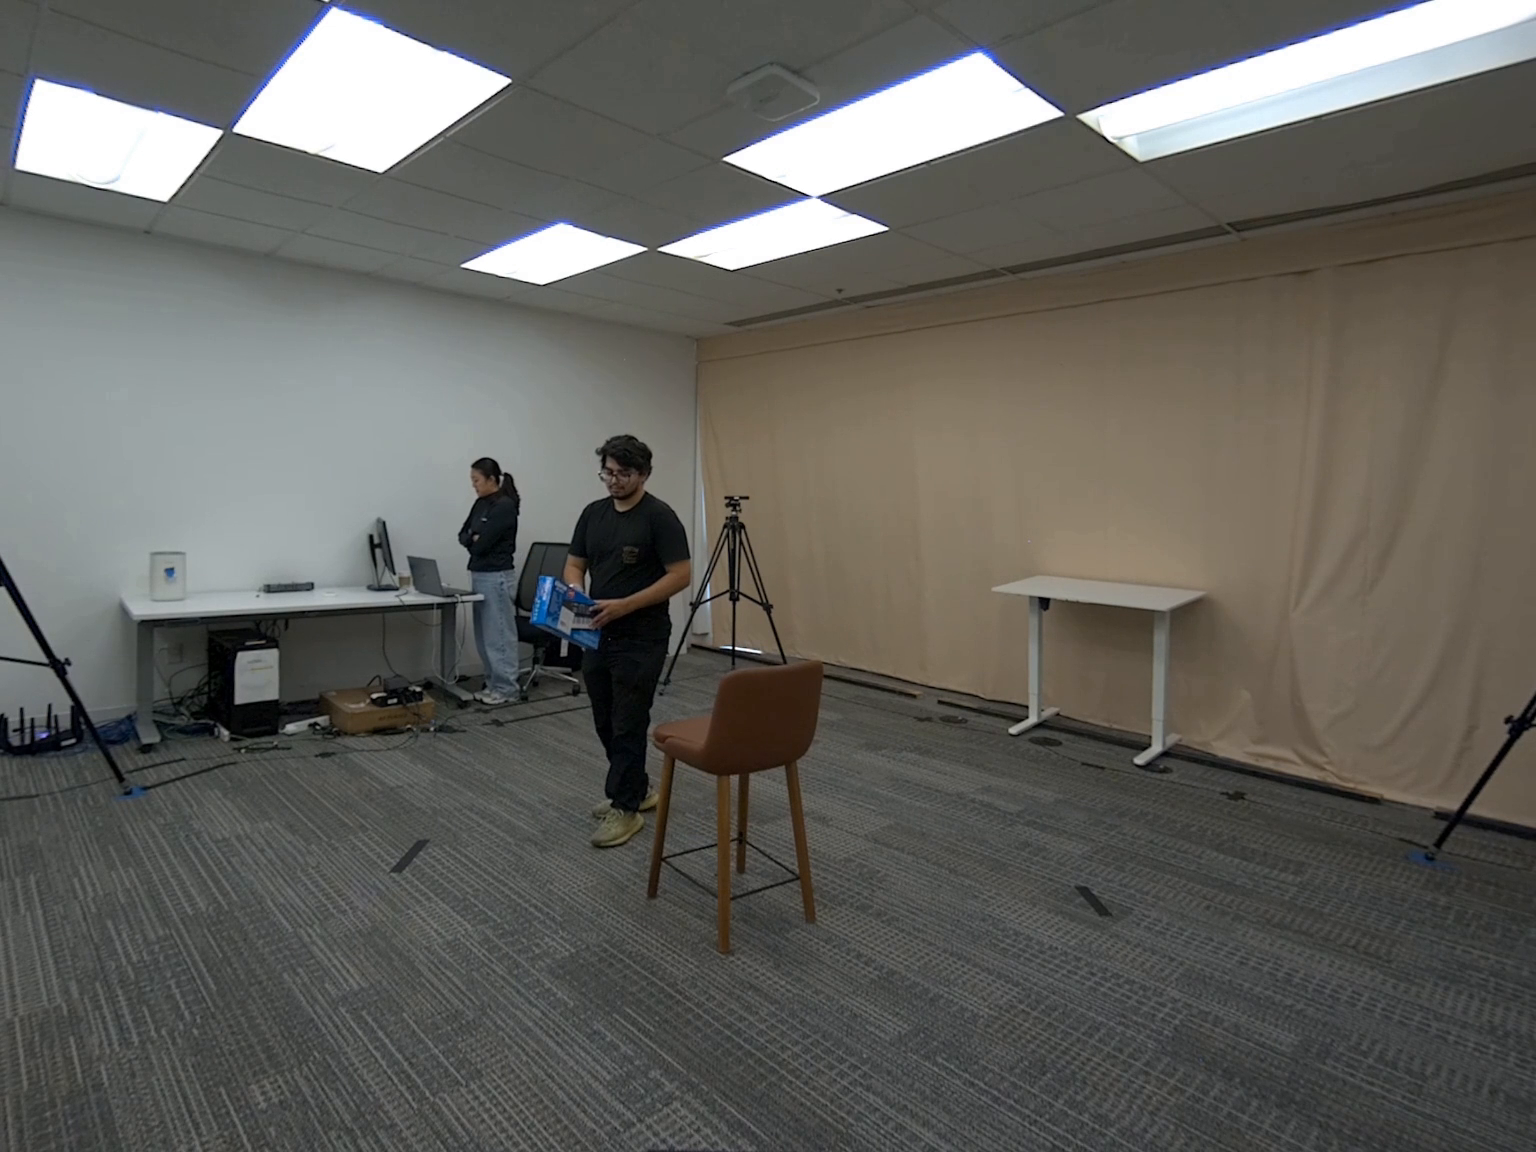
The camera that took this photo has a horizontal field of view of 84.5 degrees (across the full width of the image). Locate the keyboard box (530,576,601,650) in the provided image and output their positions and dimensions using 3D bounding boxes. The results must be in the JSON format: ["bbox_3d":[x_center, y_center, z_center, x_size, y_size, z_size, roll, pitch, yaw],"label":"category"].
[{"bbox_3d":[-0.746,0.149,3.108,0.060,0.178,0.427,3,-17,13],"label":"keyboard box"}]
